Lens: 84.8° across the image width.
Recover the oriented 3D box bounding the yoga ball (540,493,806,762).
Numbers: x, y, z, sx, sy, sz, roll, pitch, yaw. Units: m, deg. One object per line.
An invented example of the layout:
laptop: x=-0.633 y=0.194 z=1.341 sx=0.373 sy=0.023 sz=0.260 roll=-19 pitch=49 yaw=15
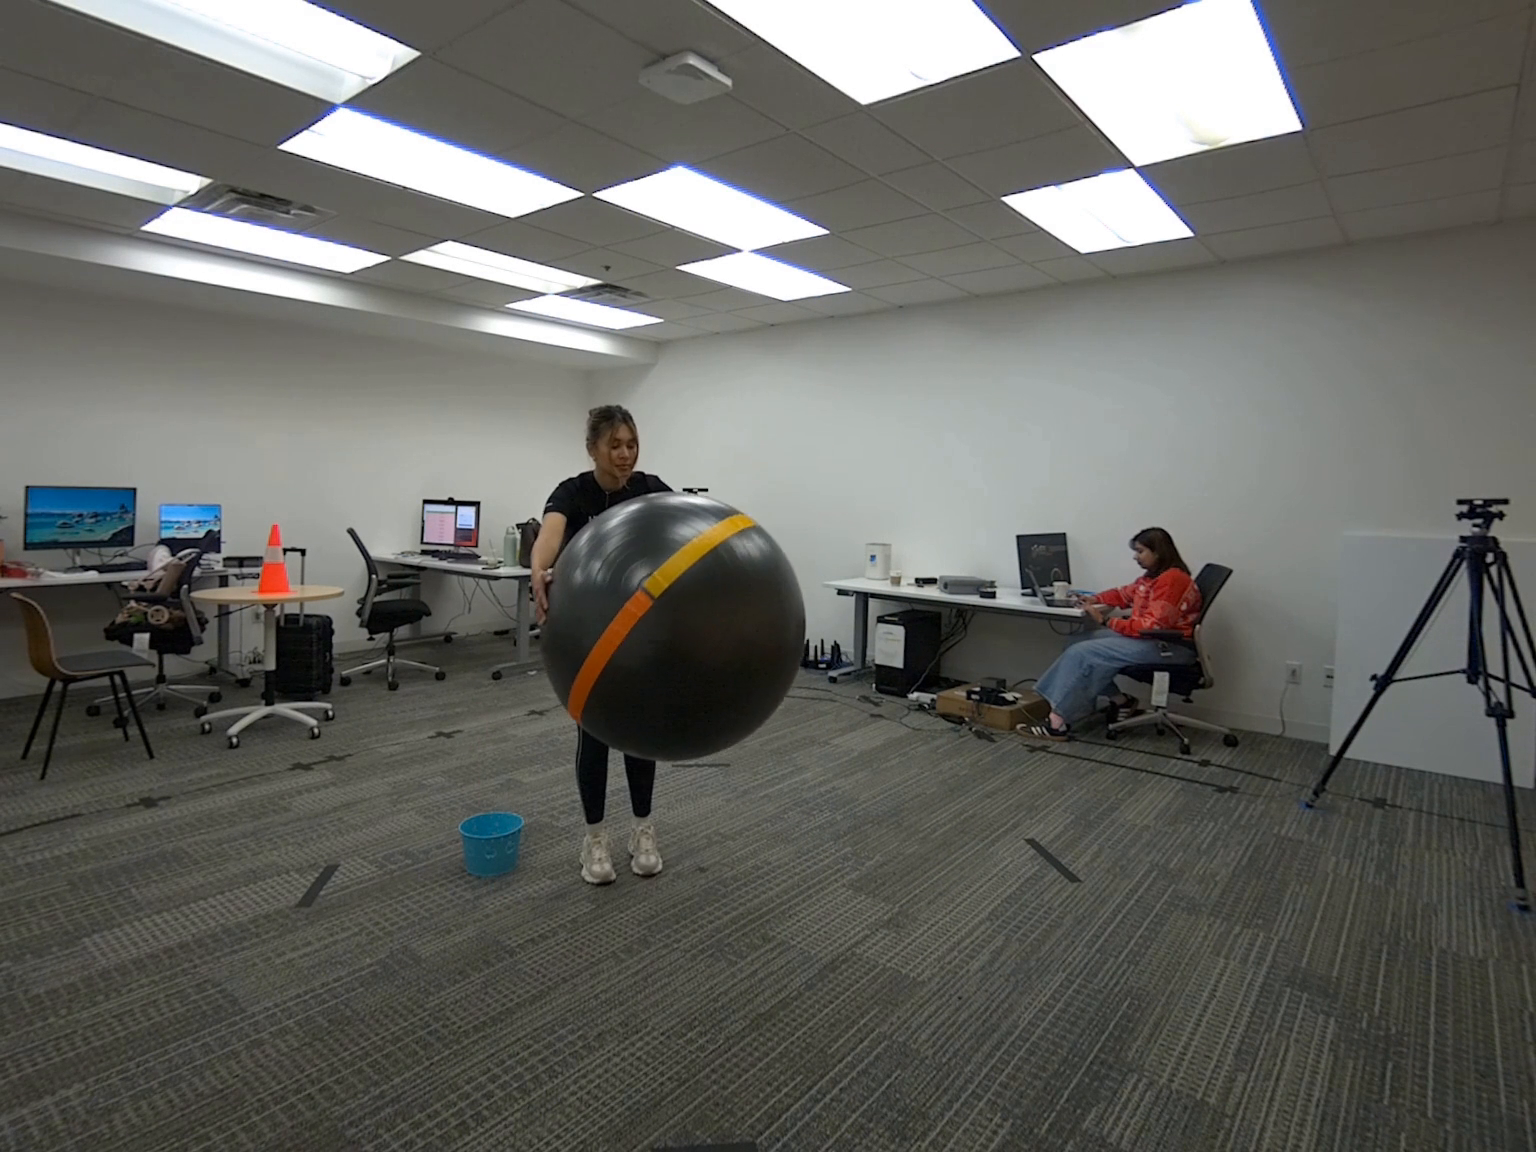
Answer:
yoga ball: x=-0.275 y=0.154 z=2.434 sx=0.757 sy=0.756 sz=0.762 roll=1 pitch=4 yaw=-2
